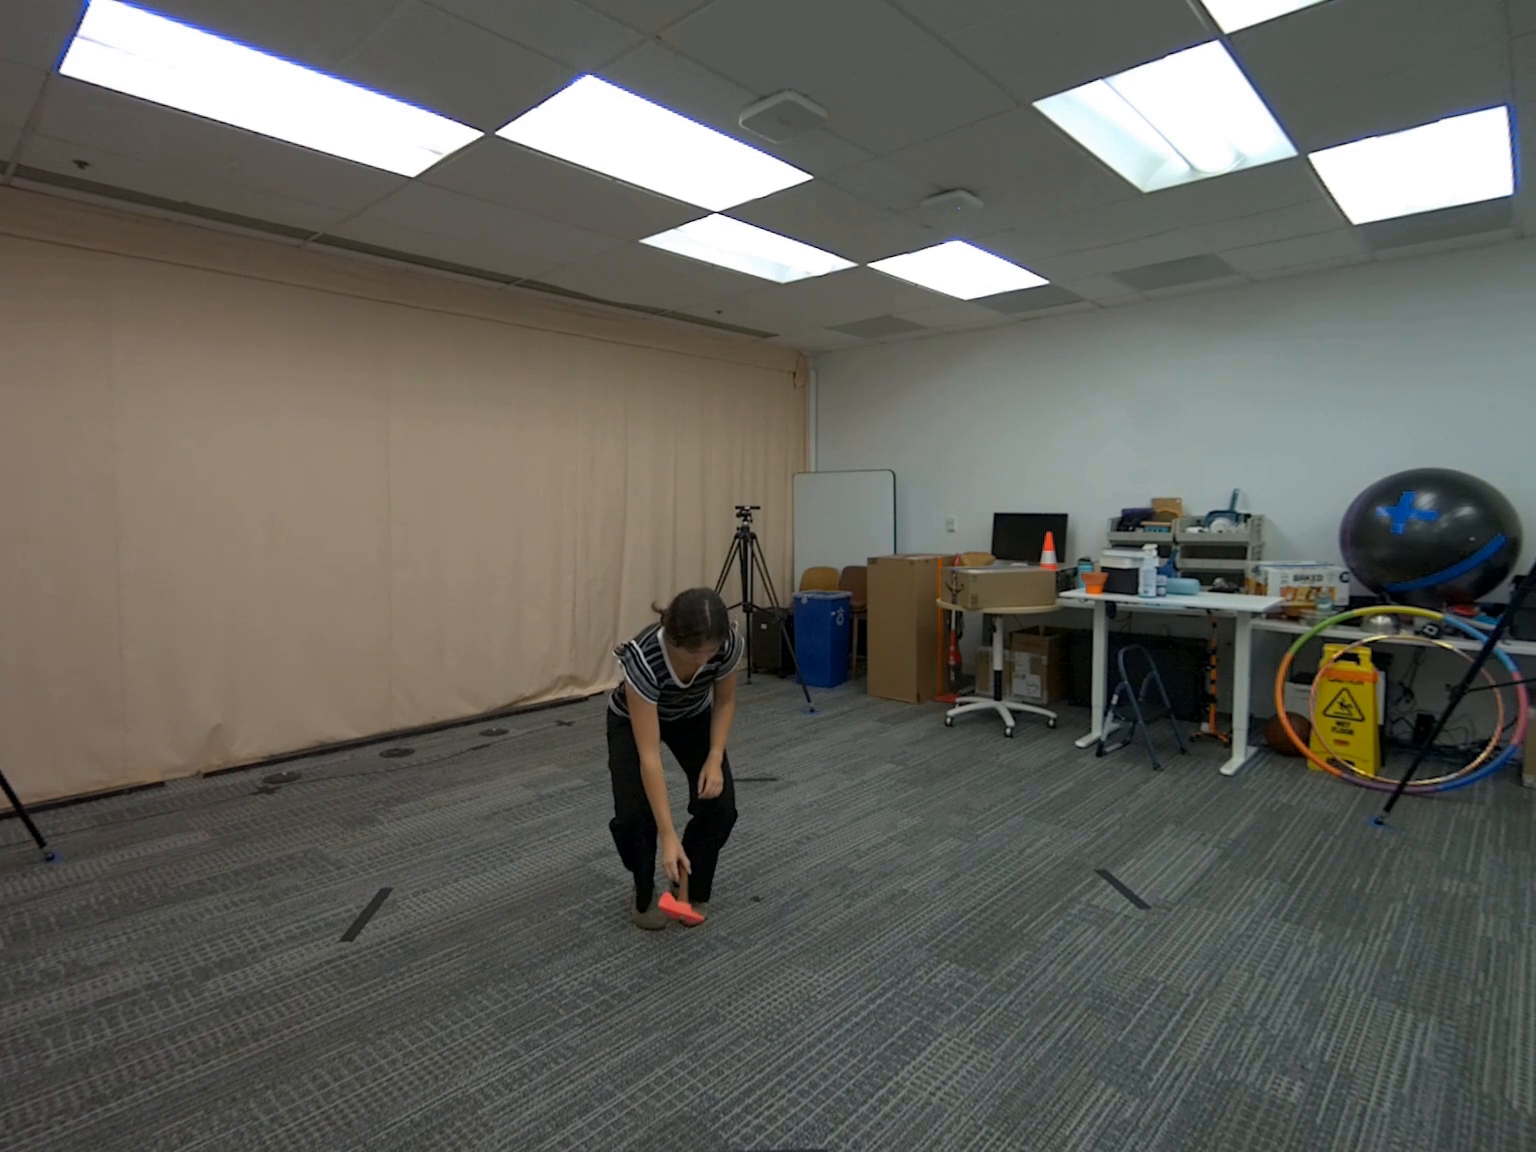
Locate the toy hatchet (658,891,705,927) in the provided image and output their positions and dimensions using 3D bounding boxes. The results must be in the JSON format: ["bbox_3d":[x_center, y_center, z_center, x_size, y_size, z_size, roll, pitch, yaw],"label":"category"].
[{"bbox_3d":[-0.263,0.875,2.426,0.127,0.029,0.278,10,23,-26],"label":"toy hatchet"}]
